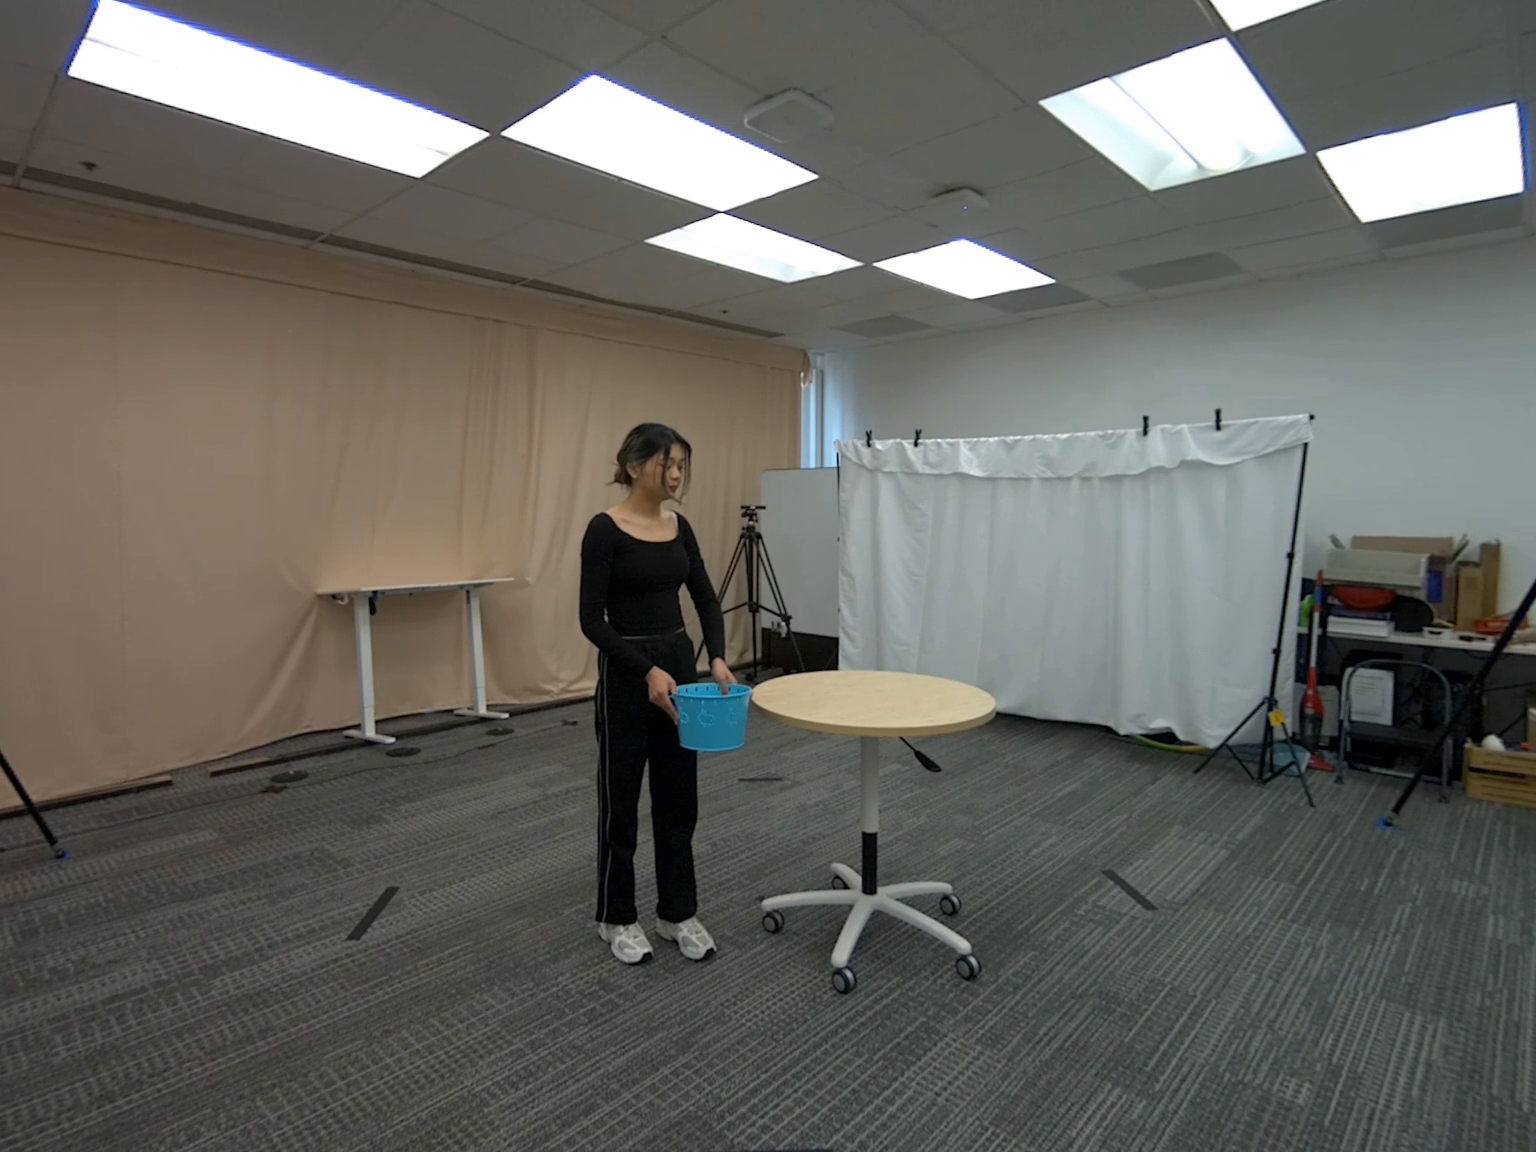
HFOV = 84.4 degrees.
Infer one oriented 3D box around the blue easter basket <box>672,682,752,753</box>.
[{"bbox_3d":[-0.165,0.399,2.372,0.243,0.156,0.244,-1,3,-2],"label":"blue easter basket"}]
